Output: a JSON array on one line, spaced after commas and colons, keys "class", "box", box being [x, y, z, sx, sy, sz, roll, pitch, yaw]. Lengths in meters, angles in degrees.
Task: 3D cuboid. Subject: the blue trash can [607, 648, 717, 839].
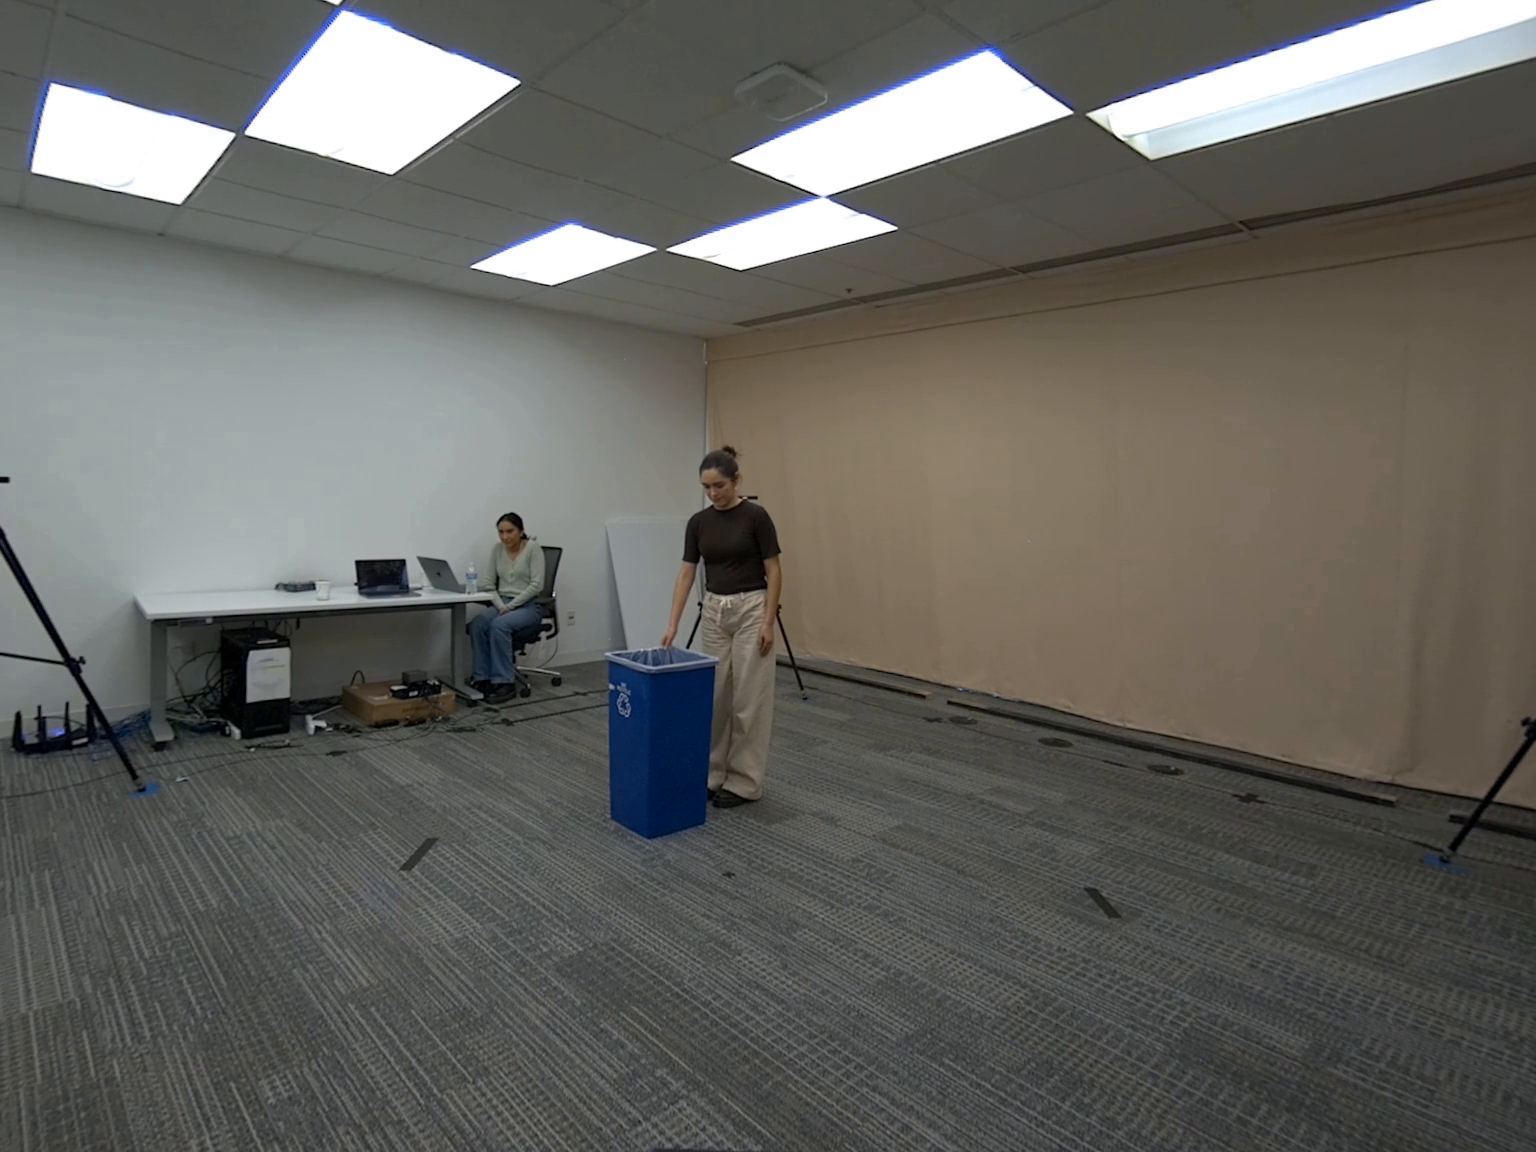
[{"class": "blue trash can", "box": [-0.475, 0.695, 3.584, 0.365, 0.712, 0.388, -1, 5, -41]}]
